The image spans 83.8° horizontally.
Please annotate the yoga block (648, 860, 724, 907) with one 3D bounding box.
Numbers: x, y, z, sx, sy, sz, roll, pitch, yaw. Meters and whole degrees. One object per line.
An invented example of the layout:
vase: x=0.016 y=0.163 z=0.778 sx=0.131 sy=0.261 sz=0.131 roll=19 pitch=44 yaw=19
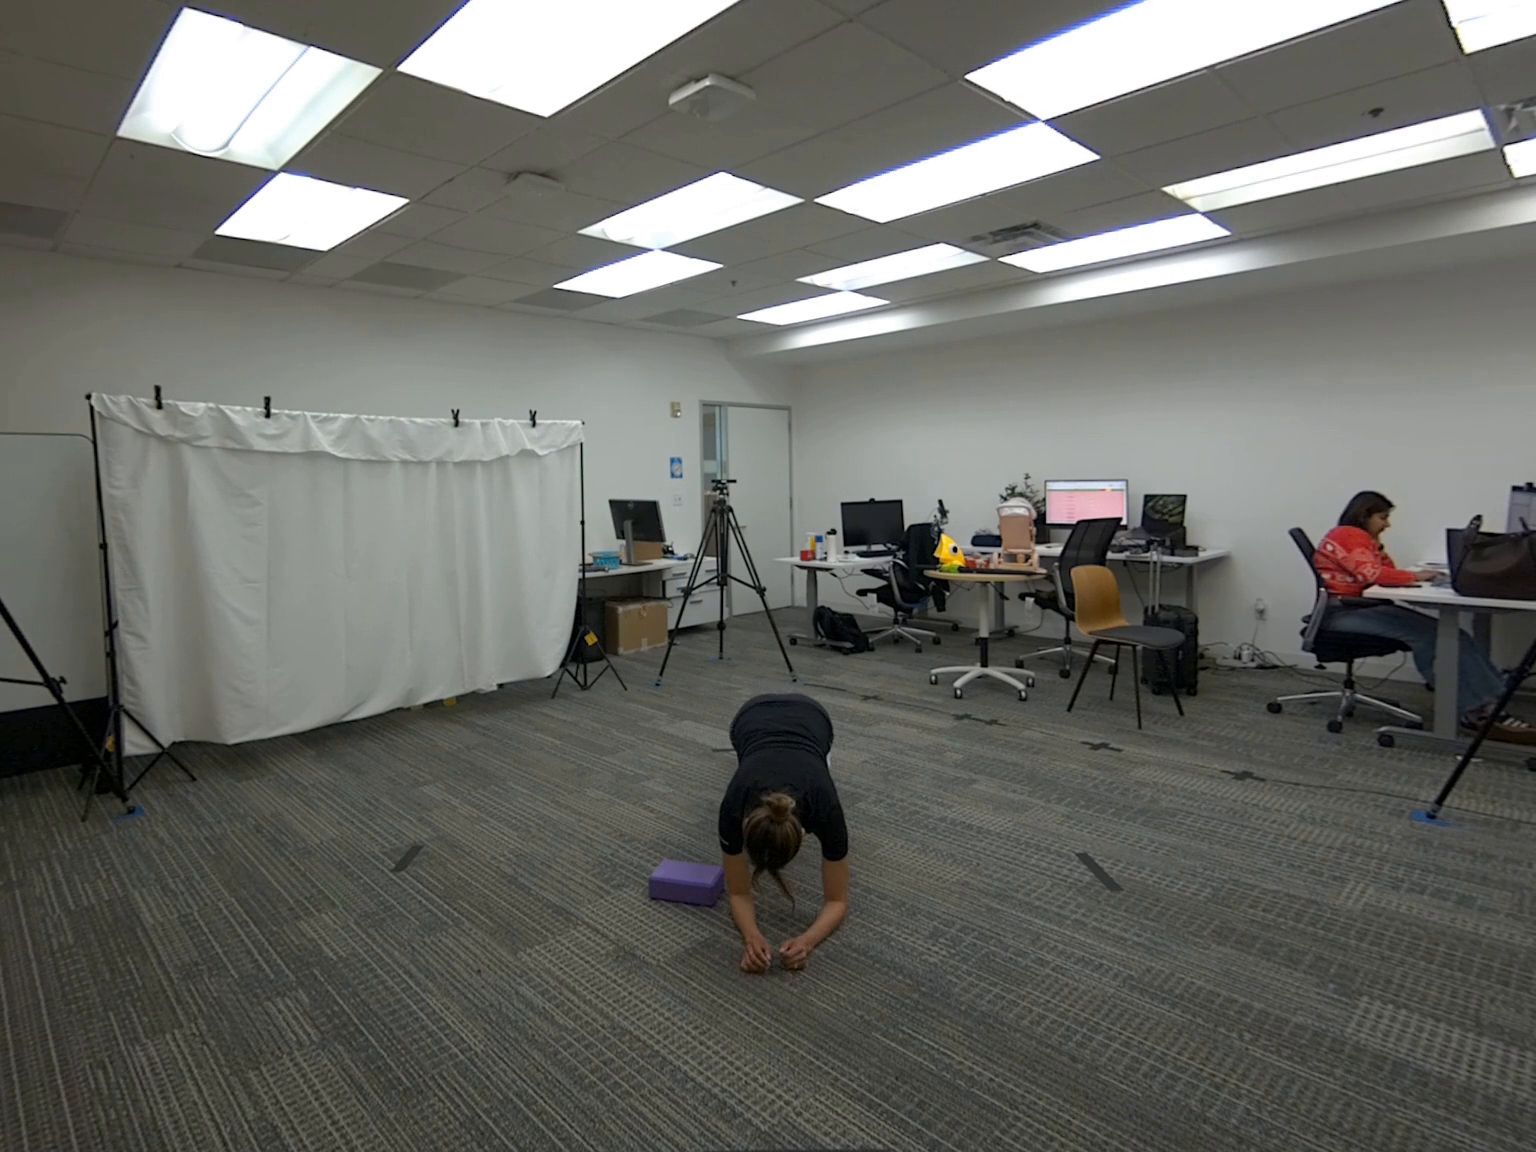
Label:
yoga block: x=-0.265 y=1.035 z=2.892 sx=0.233 sy=0.076 sz=0.147 roll=1 pitch=7 yaw=17
